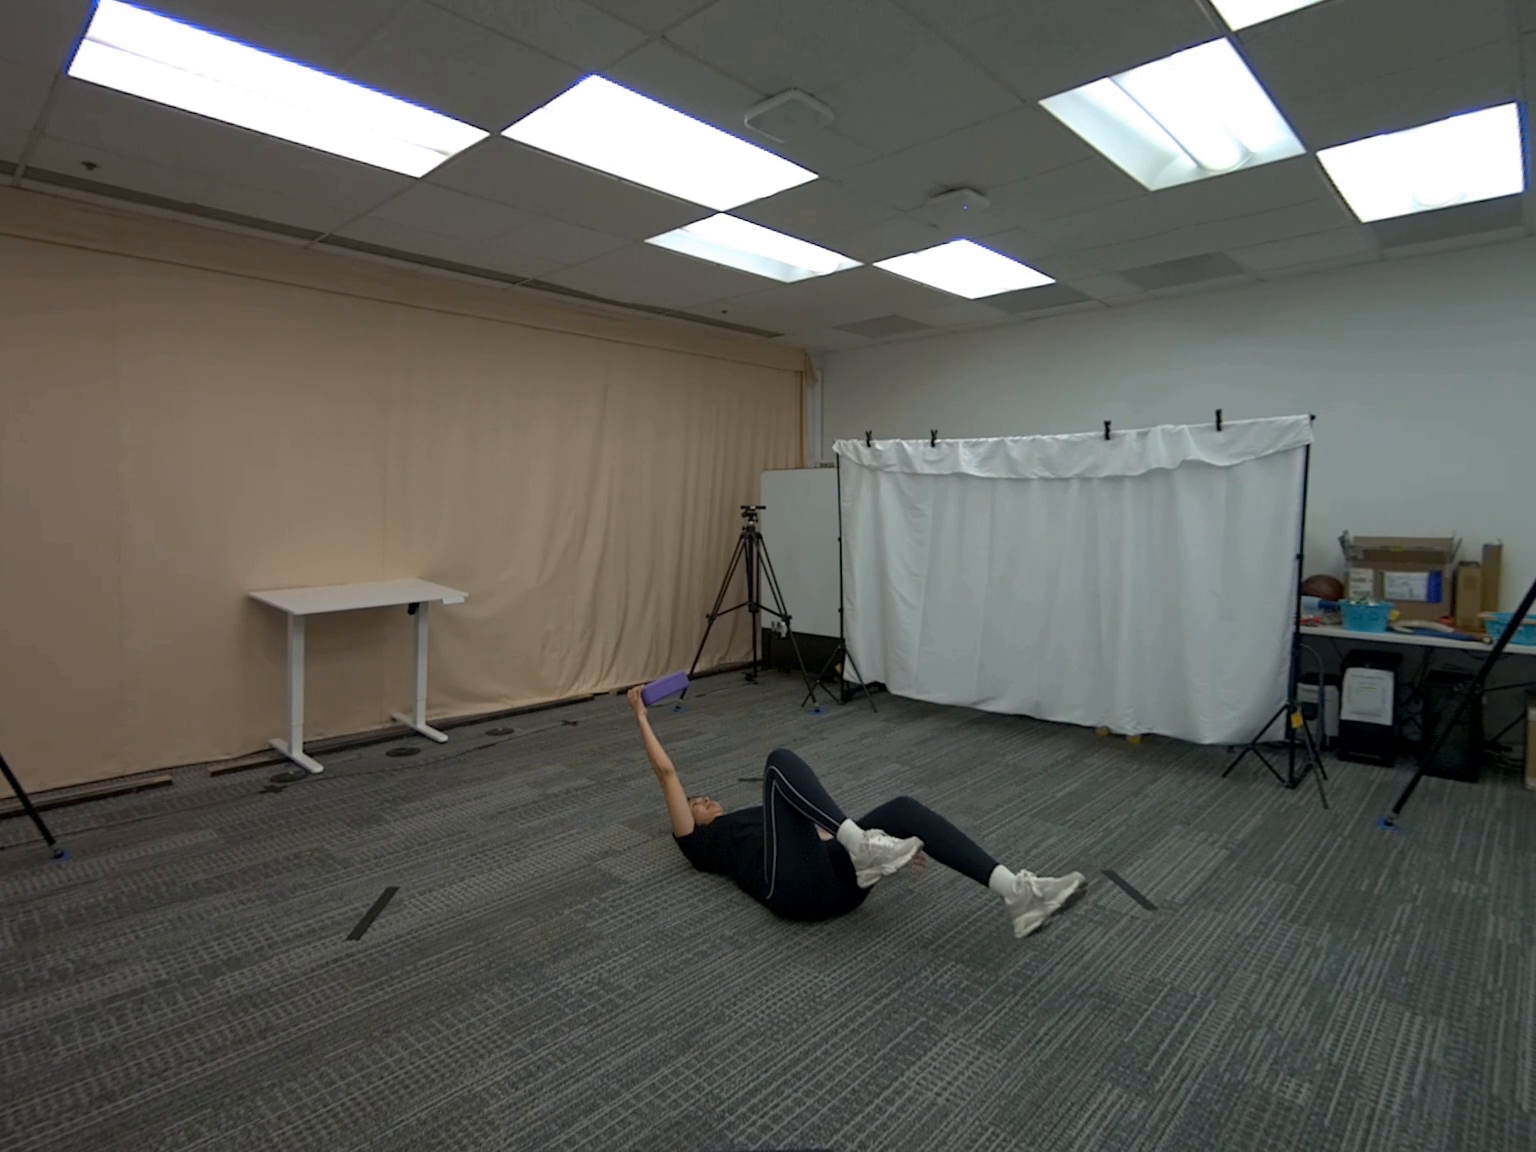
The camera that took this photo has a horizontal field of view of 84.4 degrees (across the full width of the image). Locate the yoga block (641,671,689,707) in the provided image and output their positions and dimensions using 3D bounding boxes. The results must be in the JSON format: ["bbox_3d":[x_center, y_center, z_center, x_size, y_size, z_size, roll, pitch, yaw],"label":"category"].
[{"bbox_3d":[-0.463,0.483,3.602,0.224,0.076,0.152,-22,-2,-40],"label":"yoga block"}]
